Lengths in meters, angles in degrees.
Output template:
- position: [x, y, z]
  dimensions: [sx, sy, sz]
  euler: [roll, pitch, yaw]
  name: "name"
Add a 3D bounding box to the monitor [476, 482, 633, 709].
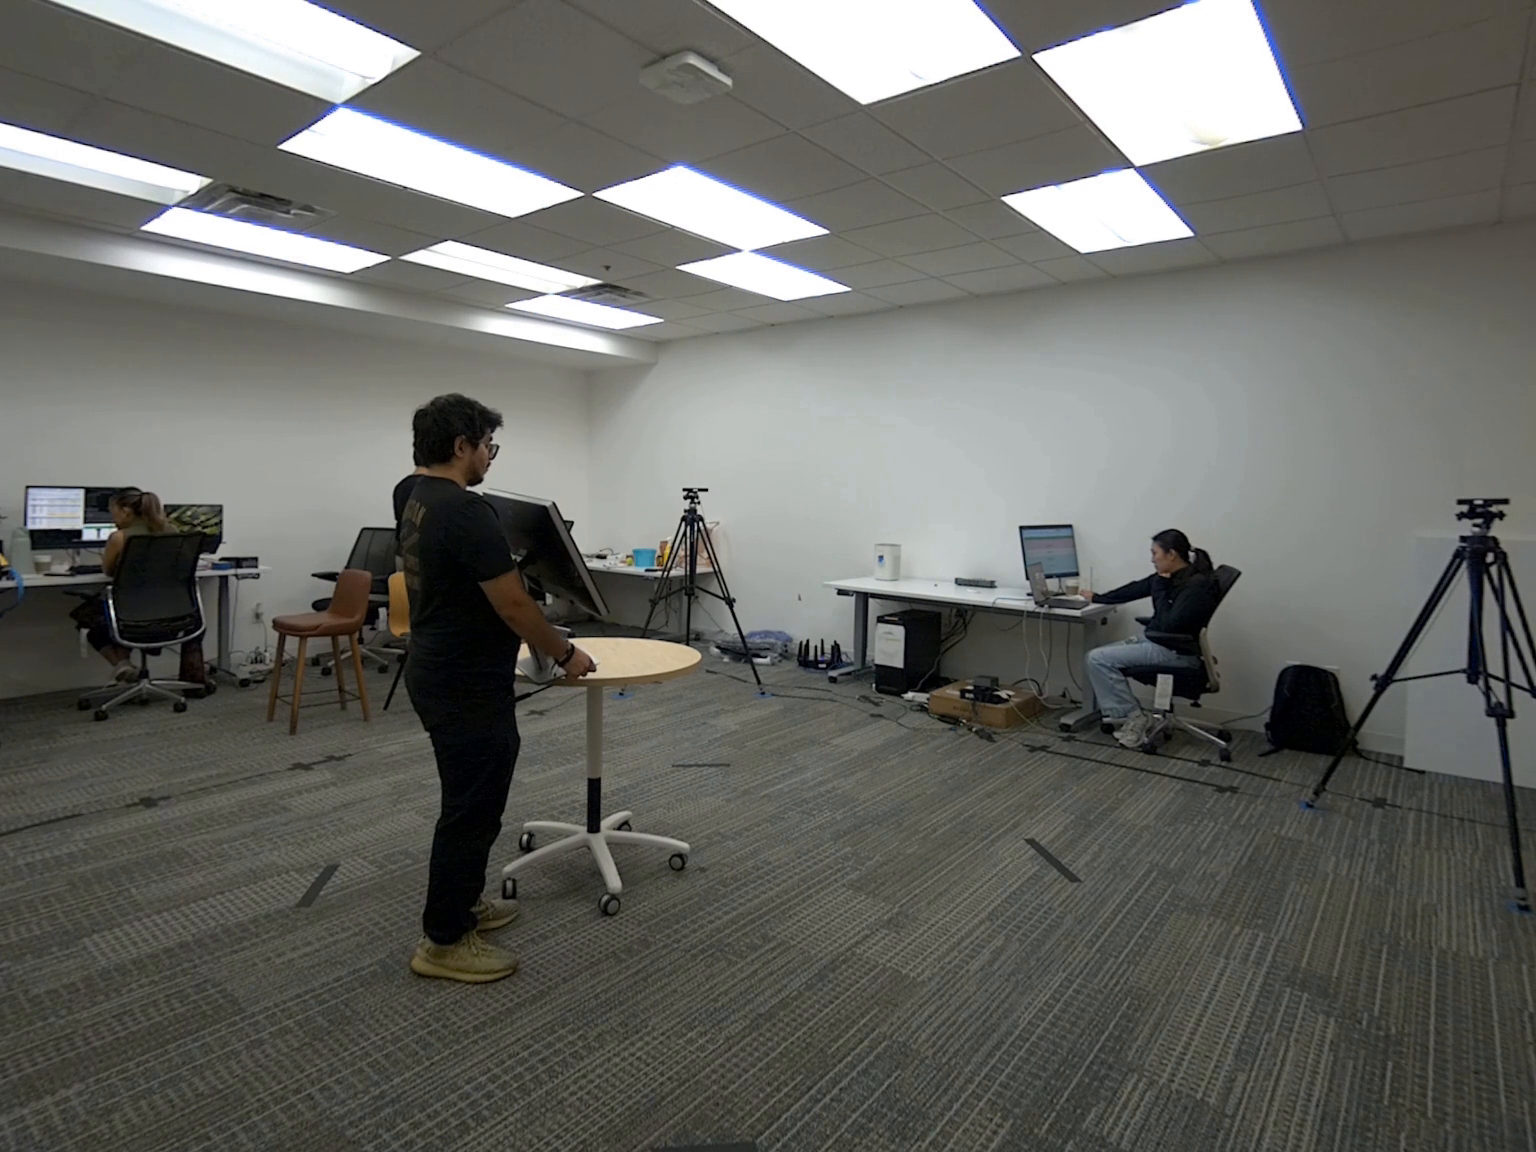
- position: [-0.716, 0.031, 2.548]
  dimensions: [0.207, 0.542, 0.585]
  euler: [-27, 22, -29]
  name: "monitor"
